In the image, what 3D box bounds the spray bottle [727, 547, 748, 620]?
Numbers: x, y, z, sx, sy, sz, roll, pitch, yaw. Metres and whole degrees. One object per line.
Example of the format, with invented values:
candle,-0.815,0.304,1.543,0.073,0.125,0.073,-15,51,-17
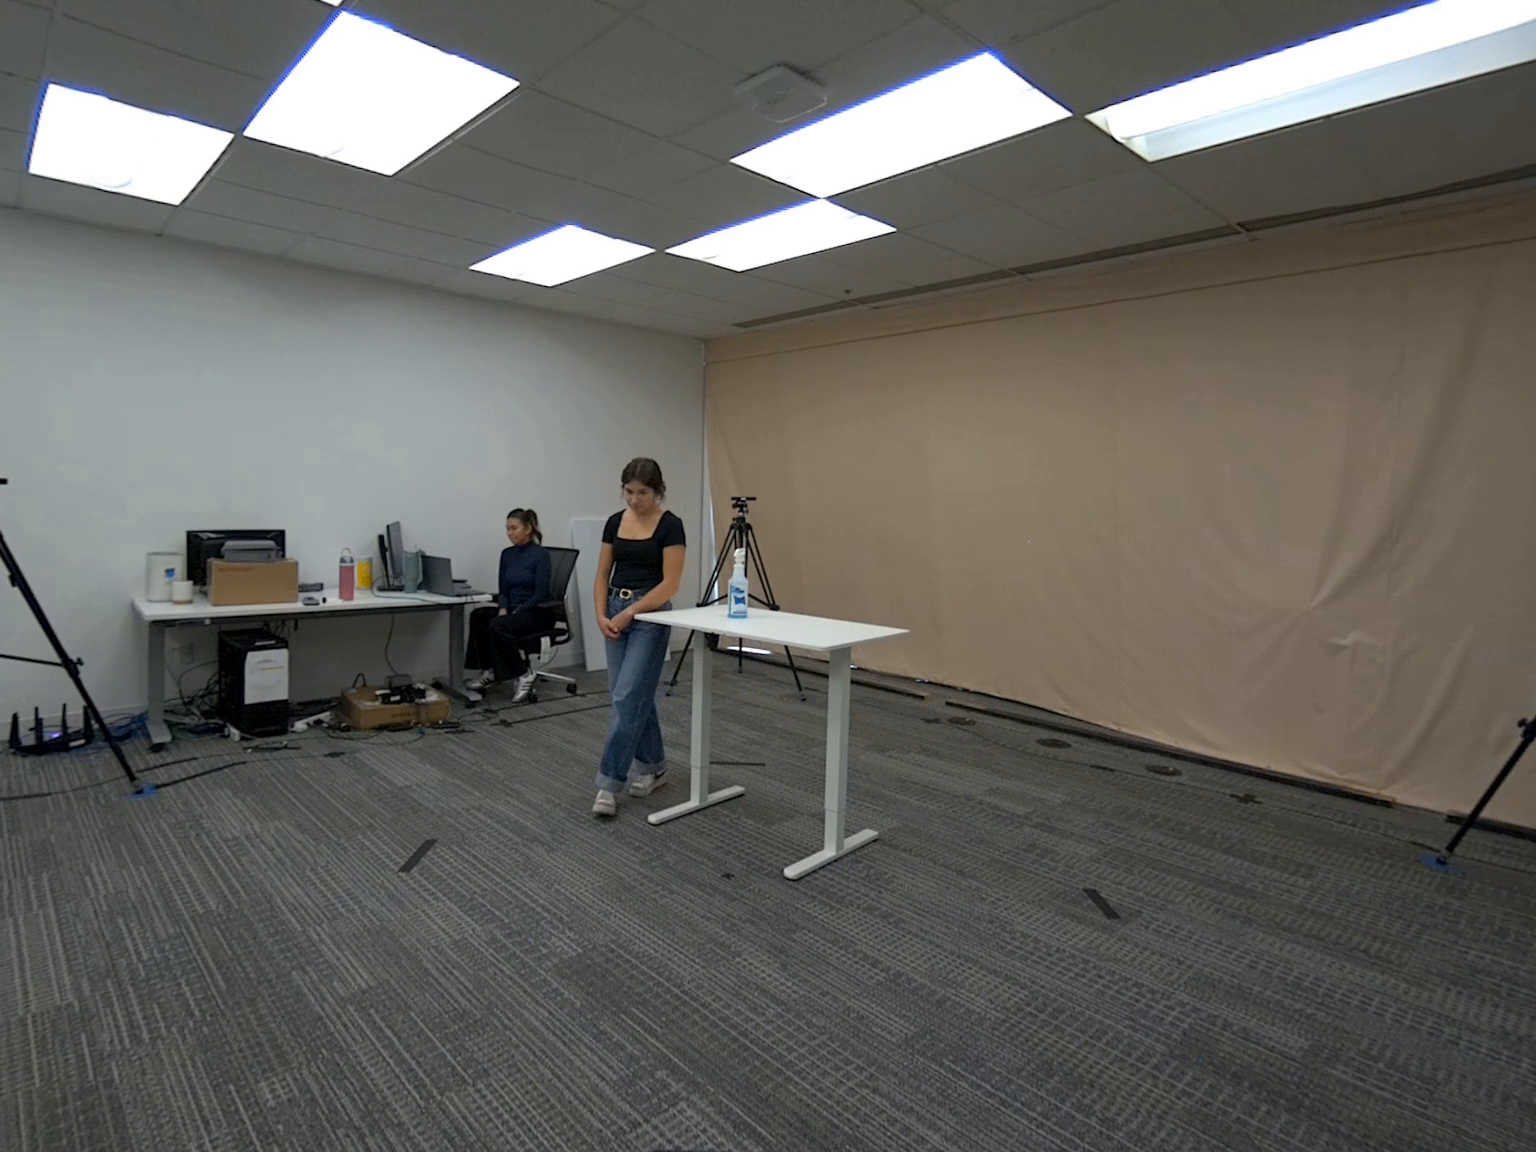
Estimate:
spray bottle,-0.133,0.033,3.629,0.088,0.296,0.089,-1,5,-41
